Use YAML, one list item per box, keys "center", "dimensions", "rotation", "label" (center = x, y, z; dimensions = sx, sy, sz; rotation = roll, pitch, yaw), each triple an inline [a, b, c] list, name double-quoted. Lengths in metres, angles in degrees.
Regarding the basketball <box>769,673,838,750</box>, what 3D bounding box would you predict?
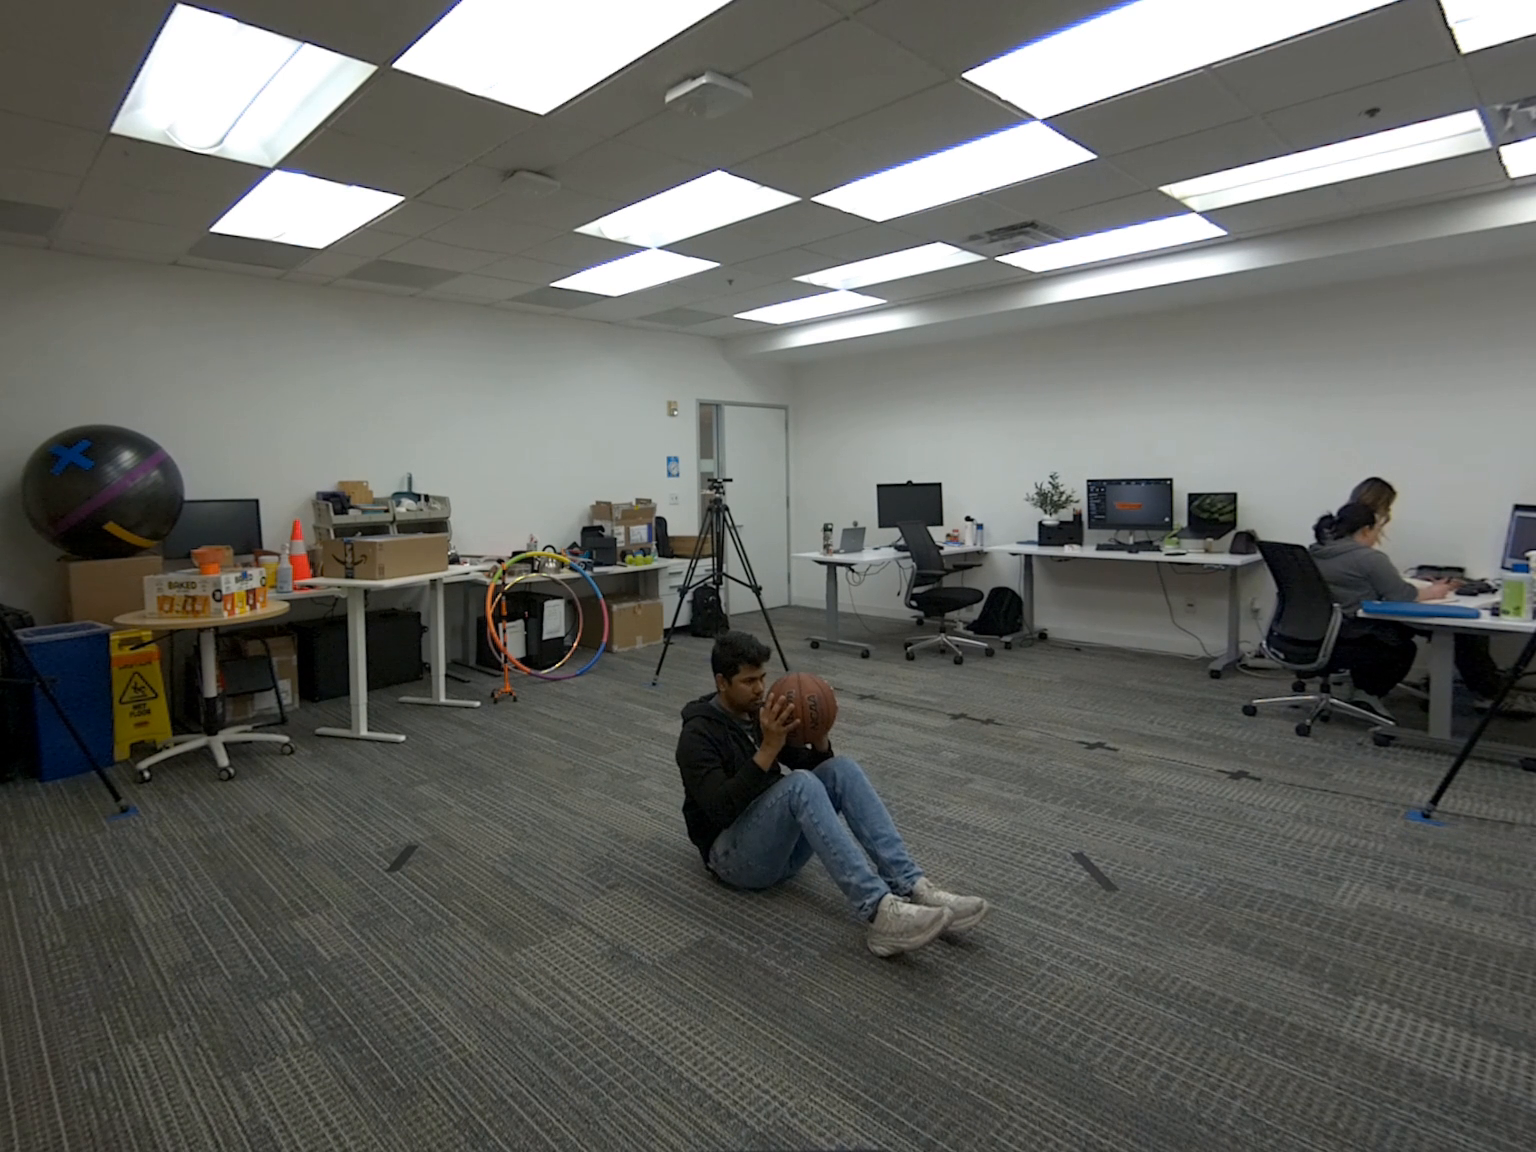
- center: [0.100, 0.434, 2.849]
  dimensions: [0.236, 0.235, 0.237]
  rotation: [-1, 5, -2]
  label: "basketball"
